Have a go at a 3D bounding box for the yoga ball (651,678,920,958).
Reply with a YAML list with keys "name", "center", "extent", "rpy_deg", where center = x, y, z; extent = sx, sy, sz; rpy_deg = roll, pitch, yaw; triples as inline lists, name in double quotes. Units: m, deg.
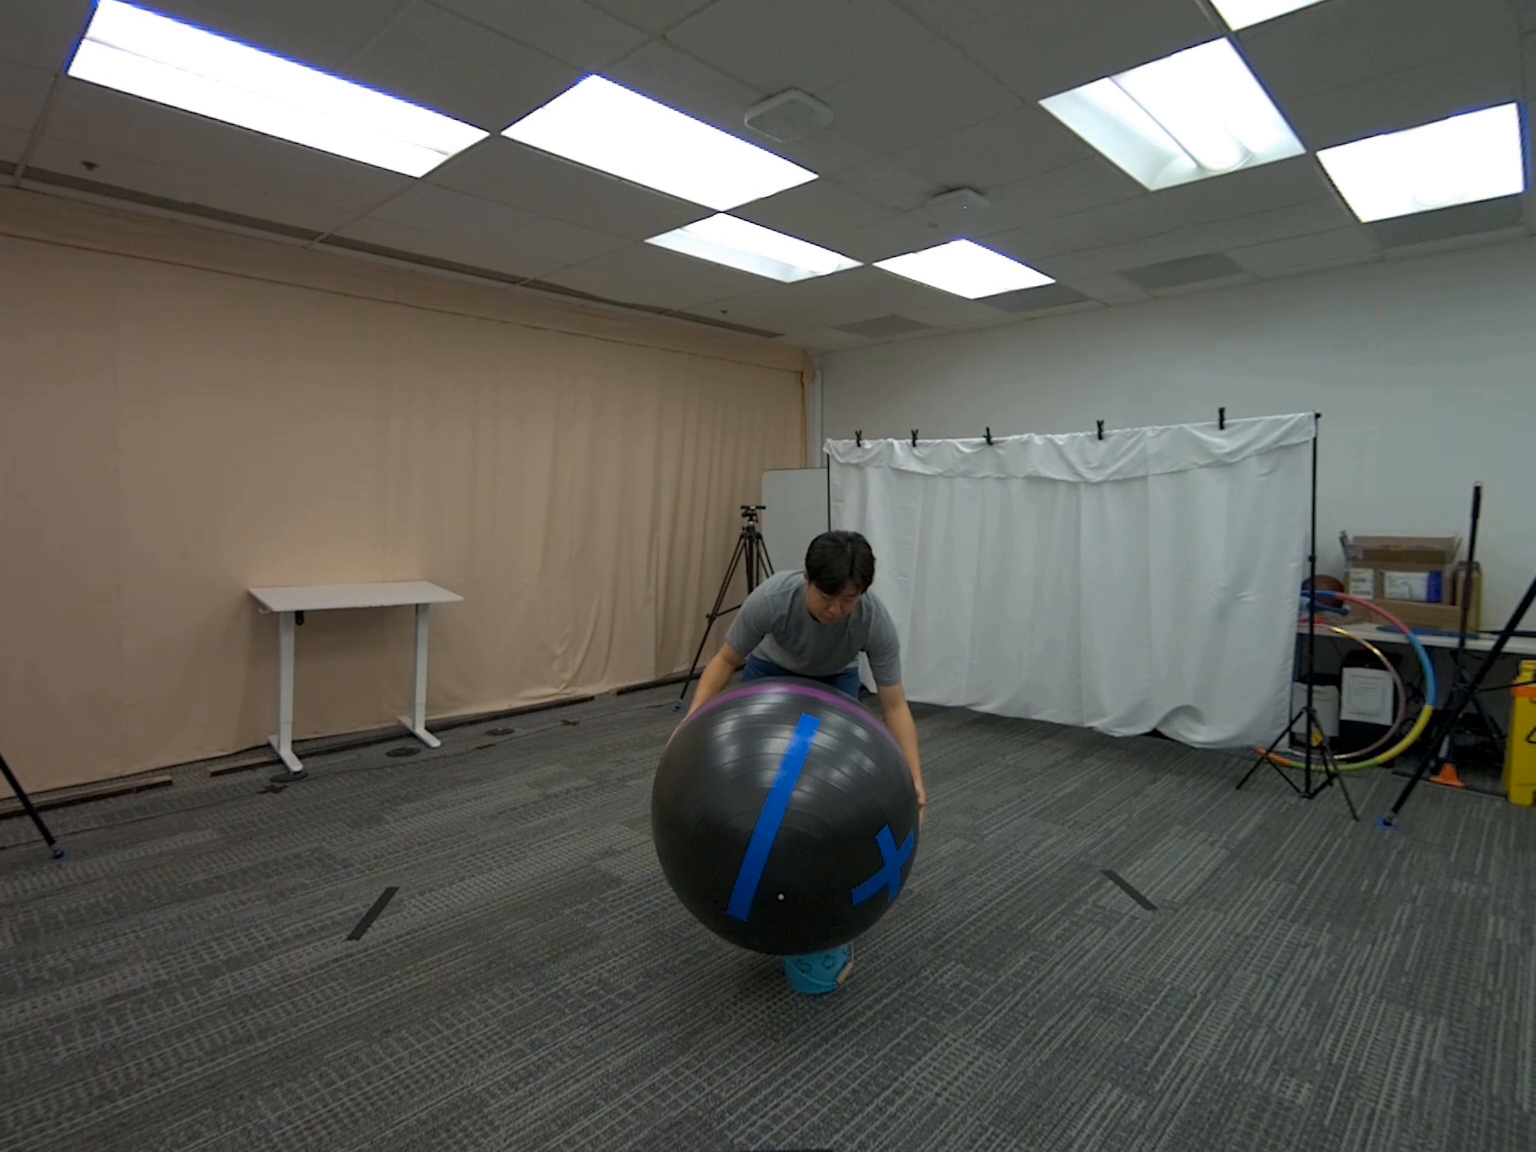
- name: "yoga ball"
  center: [0.046, 0.679, 2.419]
  extent: [0.757, 0.756, 0.761]
  rpy_deg: [0, 4, -2]
